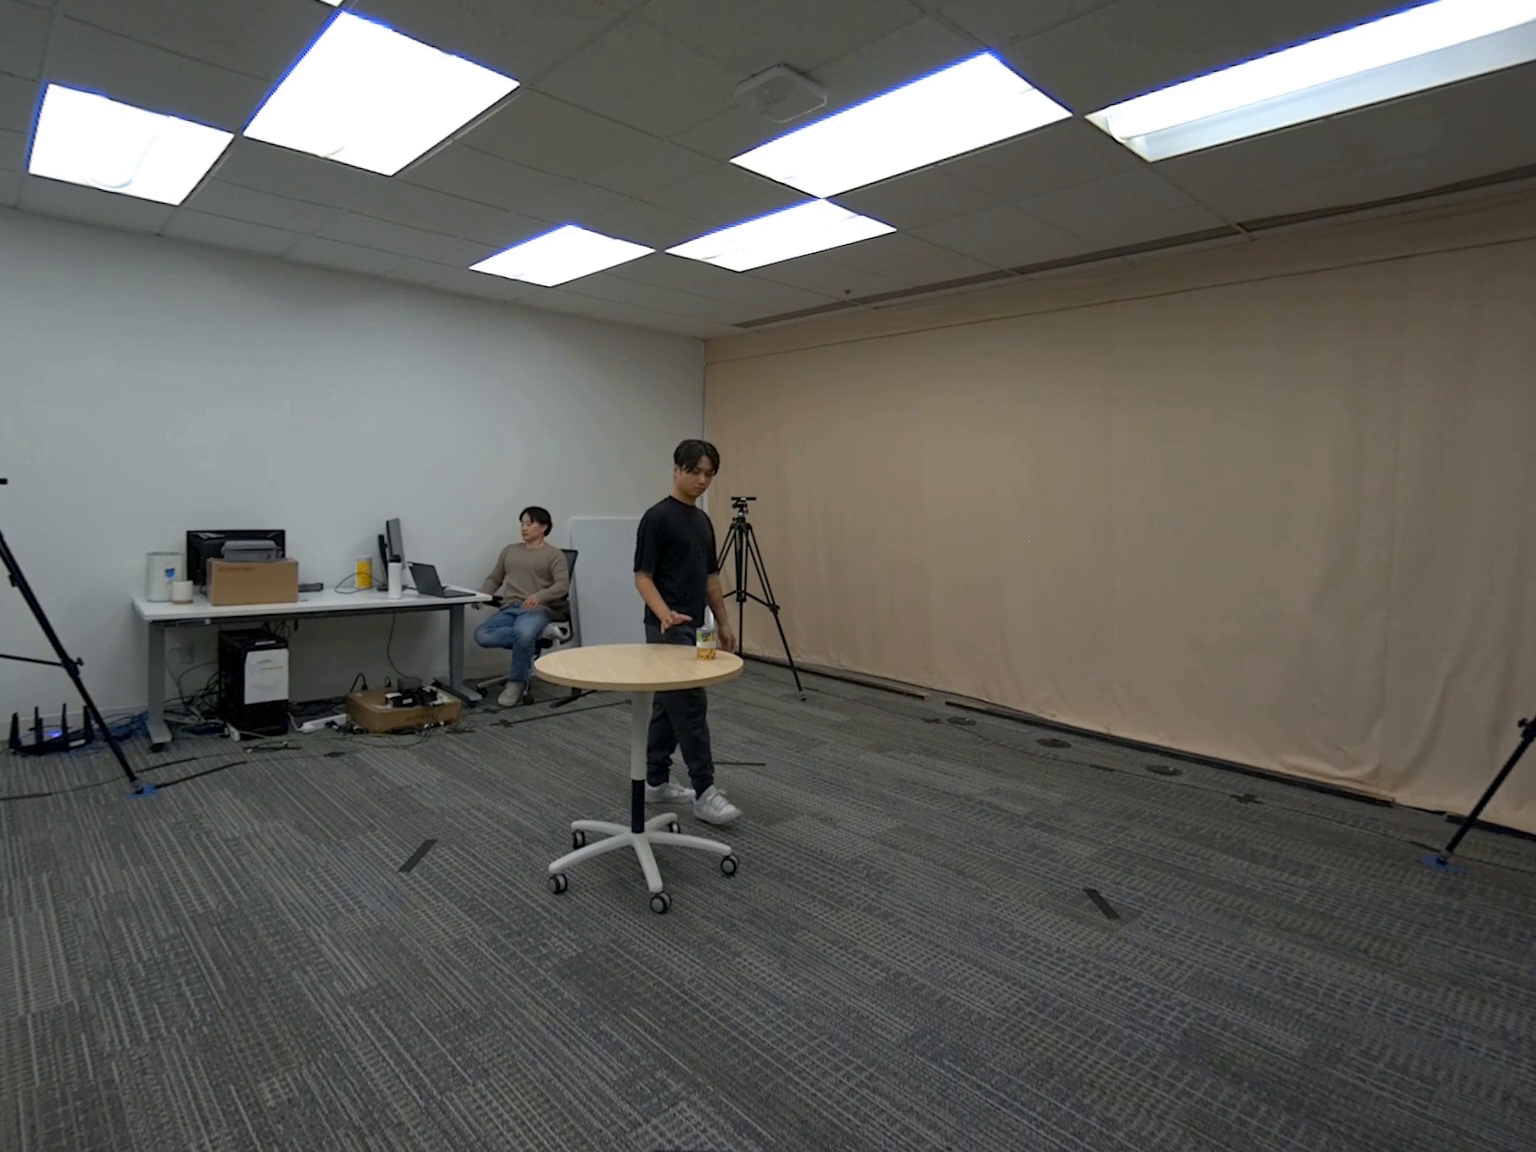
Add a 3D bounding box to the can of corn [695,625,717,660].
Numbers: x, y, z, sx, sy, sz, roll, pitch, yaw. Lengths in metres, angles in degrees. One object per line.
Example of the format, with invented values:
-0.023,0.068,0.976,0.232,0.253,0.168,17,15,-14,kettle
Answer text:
-0.244,0.258,3.179,0.074,0.111,0.074,1,2,-1,can of corn
